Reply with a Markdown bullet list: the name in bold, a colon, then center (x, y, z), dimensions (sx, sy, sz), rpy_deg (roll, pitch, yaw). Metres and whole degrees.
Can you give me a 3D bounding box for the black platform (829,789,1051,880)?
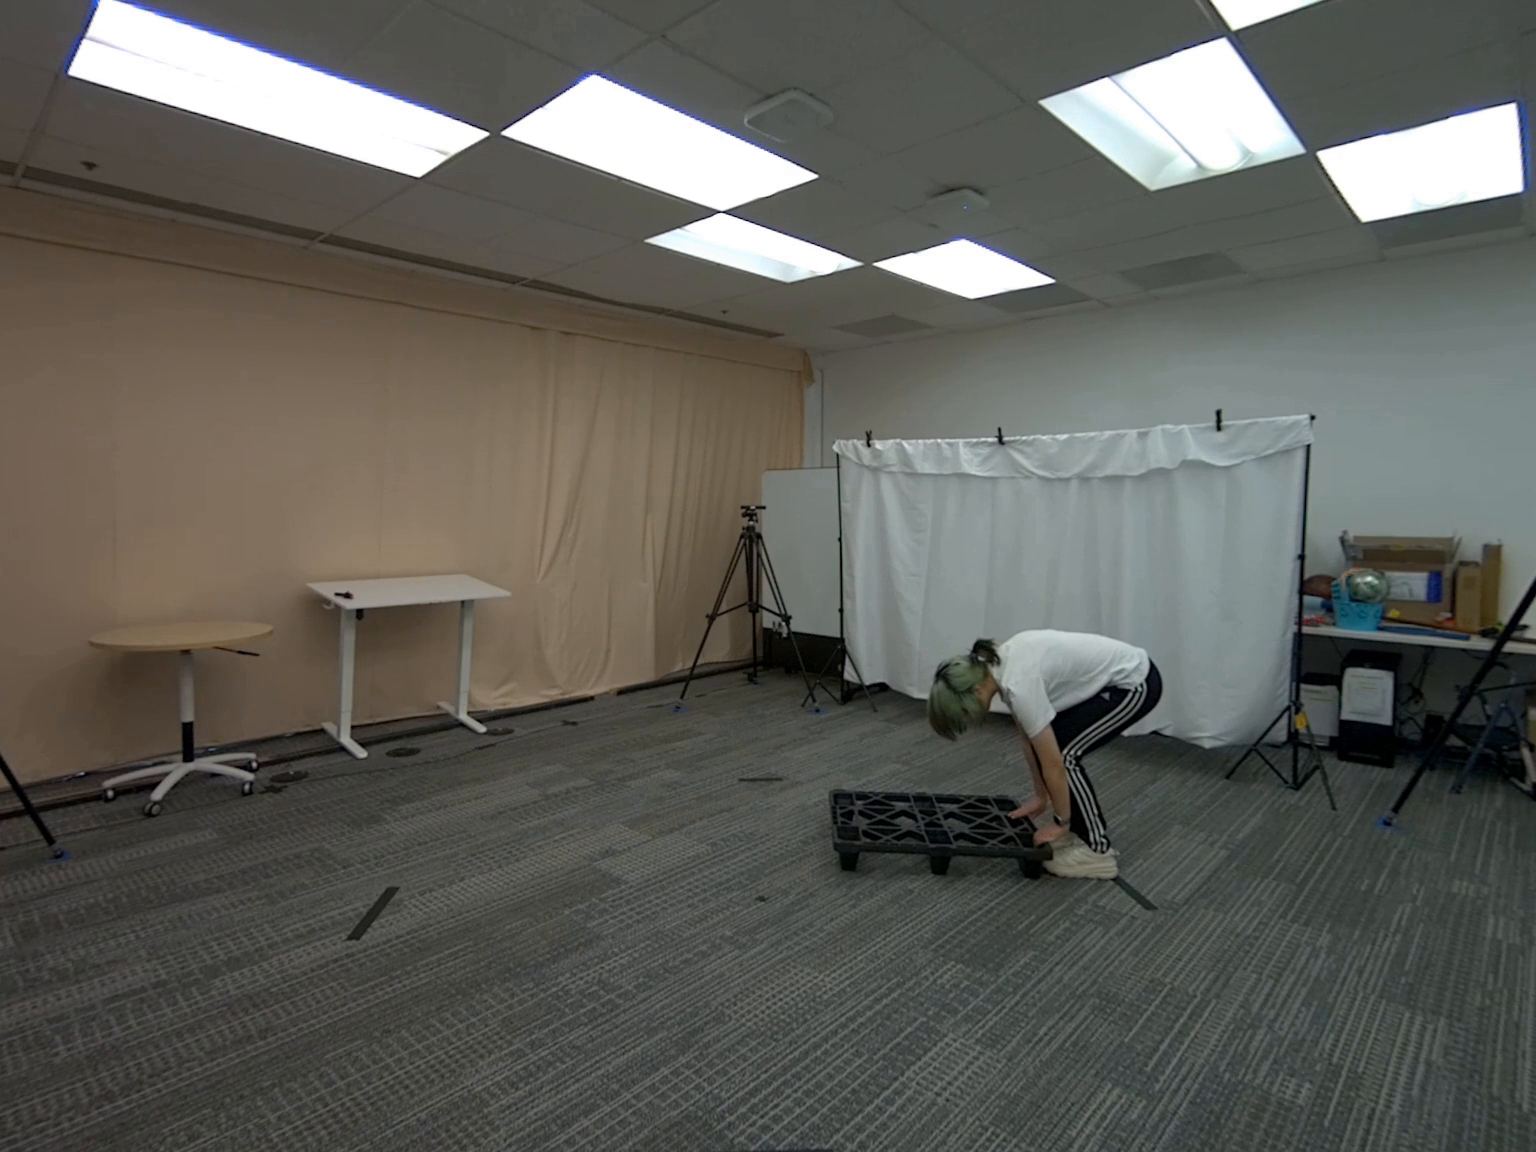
- **black platform**: center (0.660, 1.041, 3.405), dimensions (0.811, 0.143, 0.602), rpy_deg (1, 4, 5)
